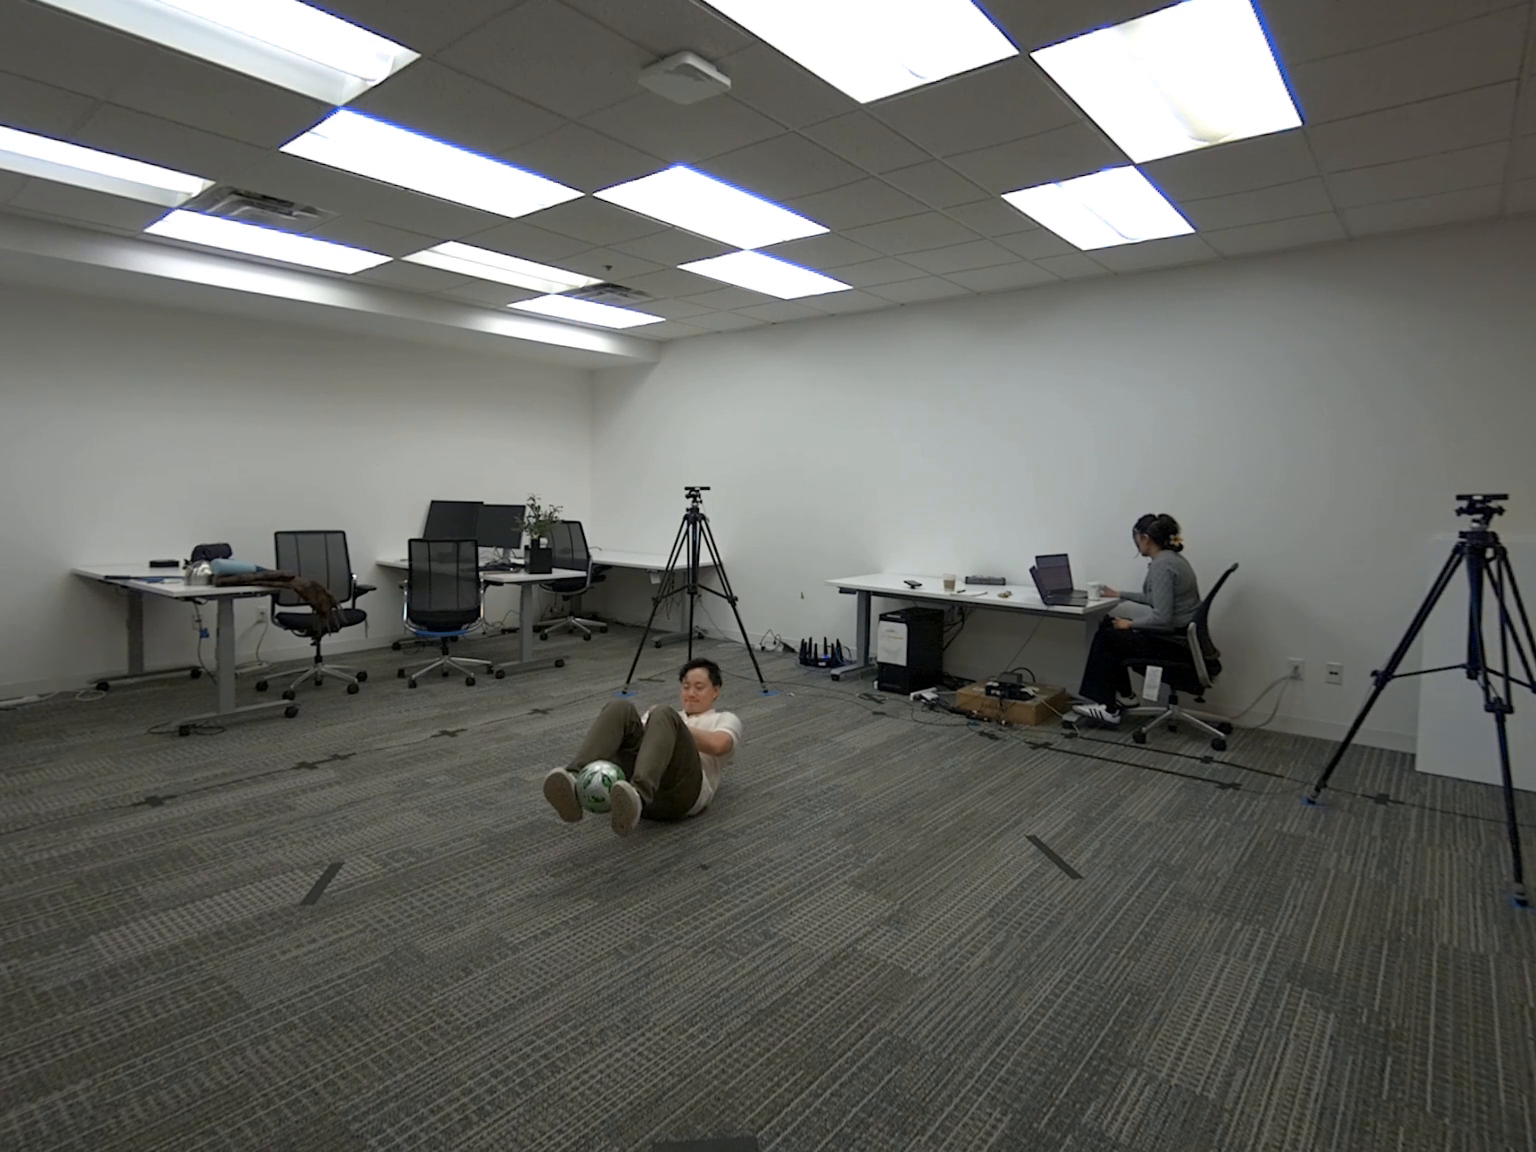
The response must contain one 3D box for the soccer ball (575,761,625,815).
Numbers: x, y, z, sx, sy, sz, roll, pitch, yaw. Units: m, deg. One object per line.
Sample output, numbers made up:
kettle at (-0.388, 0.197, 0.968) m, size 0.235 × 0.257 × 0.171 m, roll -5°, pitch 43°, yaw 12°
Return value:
soccer ball at (-0.625, 0.761, 3.085) m, size 0.187 × 0.187 × 0.188 m, roll 1°, pitch 4°, yaw -2°
